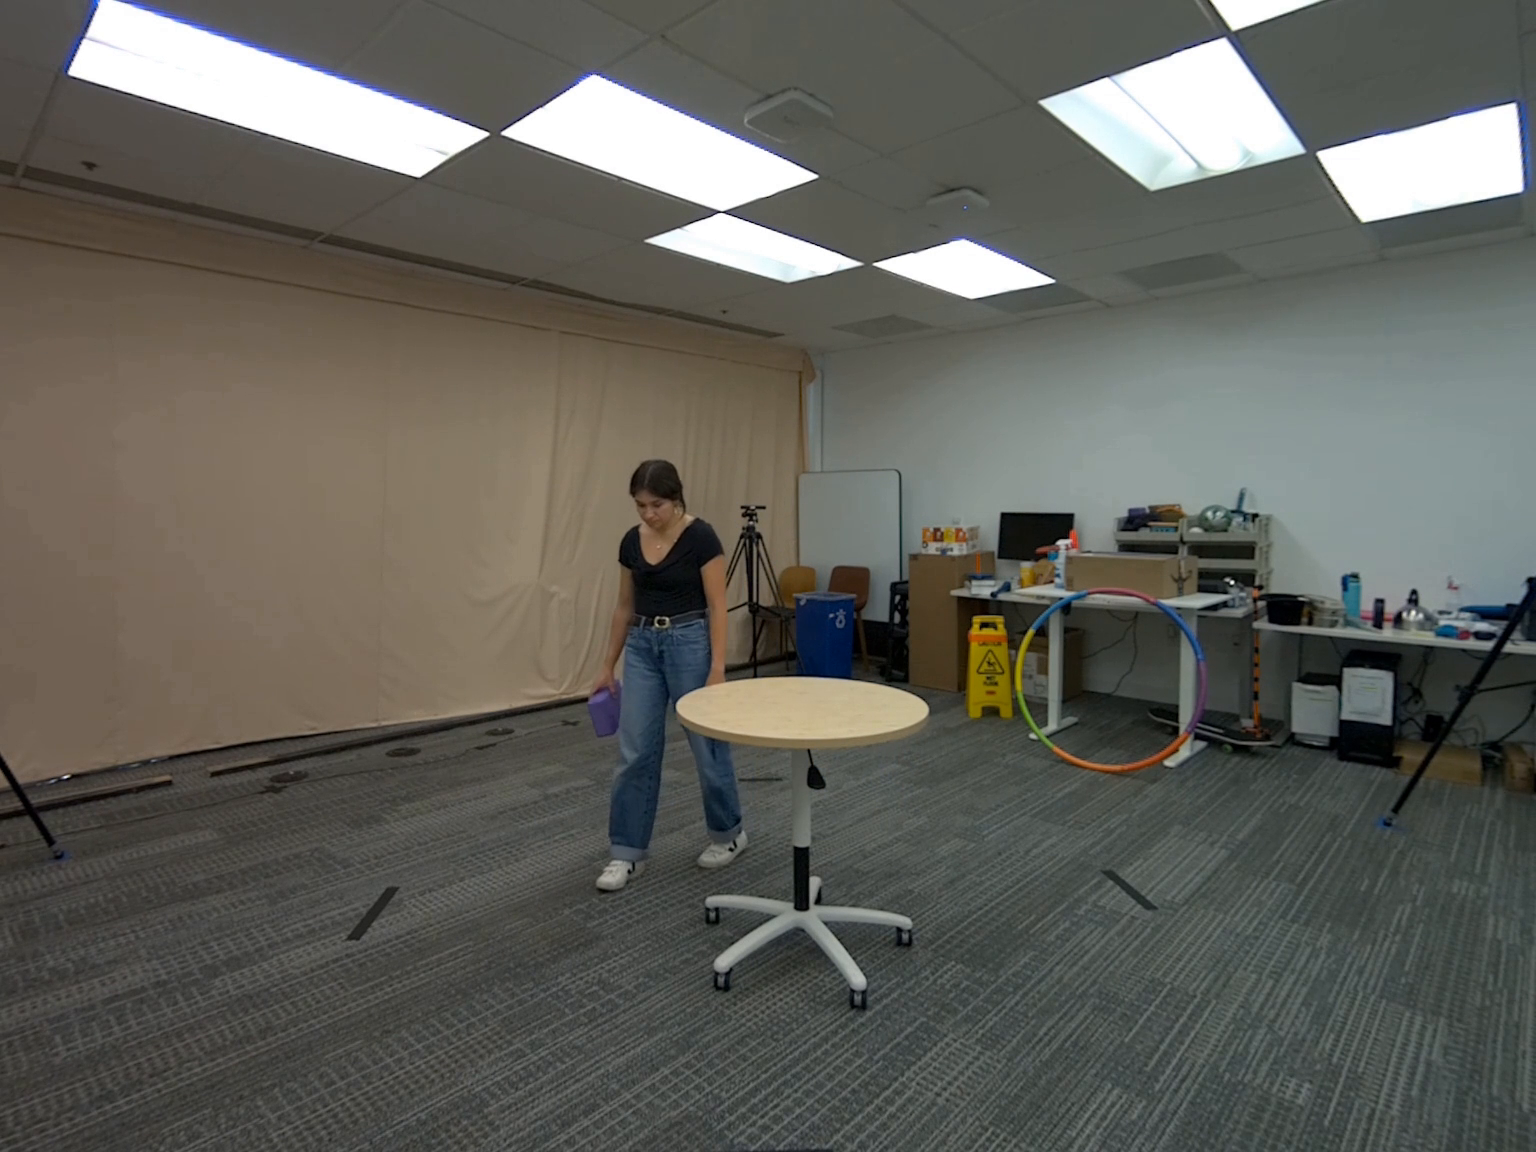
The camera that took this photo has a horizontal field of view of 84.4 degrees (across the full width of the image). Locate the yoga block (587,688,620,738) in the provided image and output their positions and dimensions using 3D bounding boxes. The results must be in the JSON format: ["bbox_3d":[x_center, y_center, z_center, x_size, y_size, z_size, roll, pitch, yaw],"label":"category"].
[{"bbox_3d":[-0.620,0.515,3.281,0.077,0.147,0.230,-12,14,5],"label":"yoga block"}]
